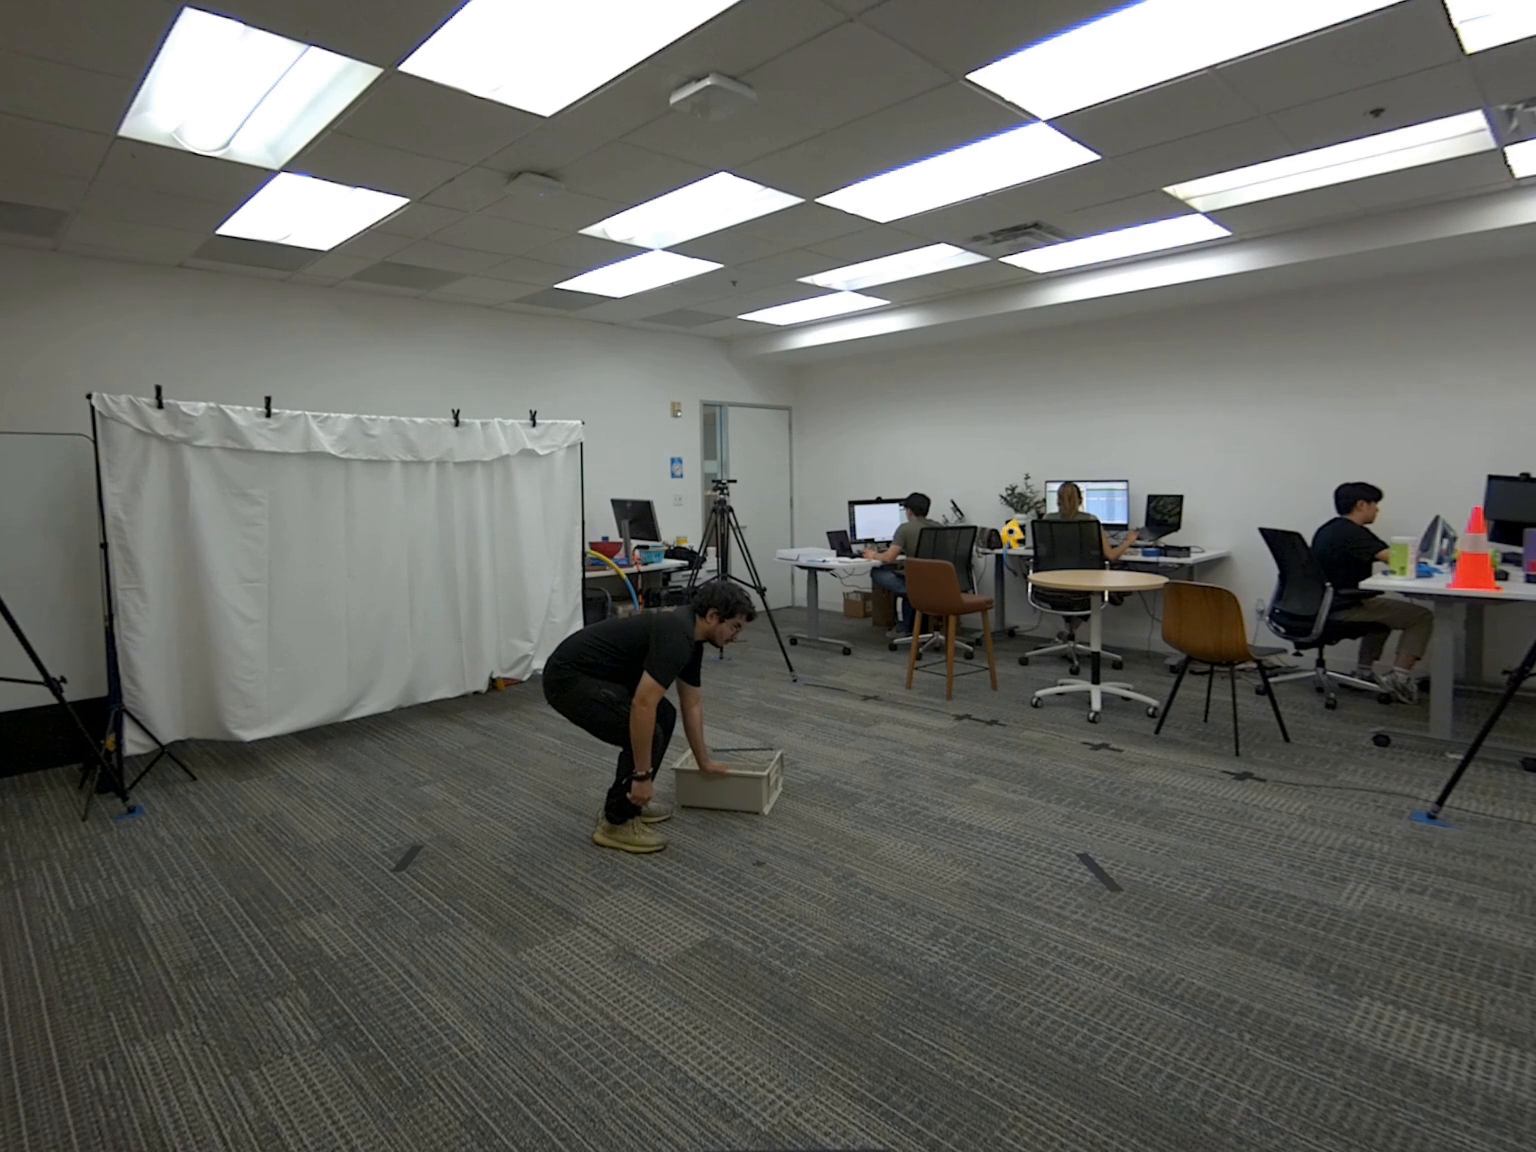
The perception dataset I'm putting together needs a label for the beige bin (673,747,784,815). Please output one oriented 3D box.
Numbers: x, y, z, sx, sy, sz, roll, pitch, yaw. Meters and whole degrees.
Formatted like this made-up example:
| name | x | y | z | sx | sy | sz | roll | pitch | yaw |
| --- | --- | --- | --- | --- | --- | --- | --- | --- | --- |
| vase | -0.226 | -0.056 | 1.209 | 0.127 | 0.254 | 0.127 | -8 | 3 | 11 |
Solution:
| name | x | y | z | sx | sy | sz | roll | pitch | yaw |
| --- | --- | --- | --- | --- | --- | --- | --- | --- | --- |
| beige bin | -0.169 | 0.888 | 3.782 | 0.429 | 0.188 | 0.374 | 1 | 7 | 15 |
